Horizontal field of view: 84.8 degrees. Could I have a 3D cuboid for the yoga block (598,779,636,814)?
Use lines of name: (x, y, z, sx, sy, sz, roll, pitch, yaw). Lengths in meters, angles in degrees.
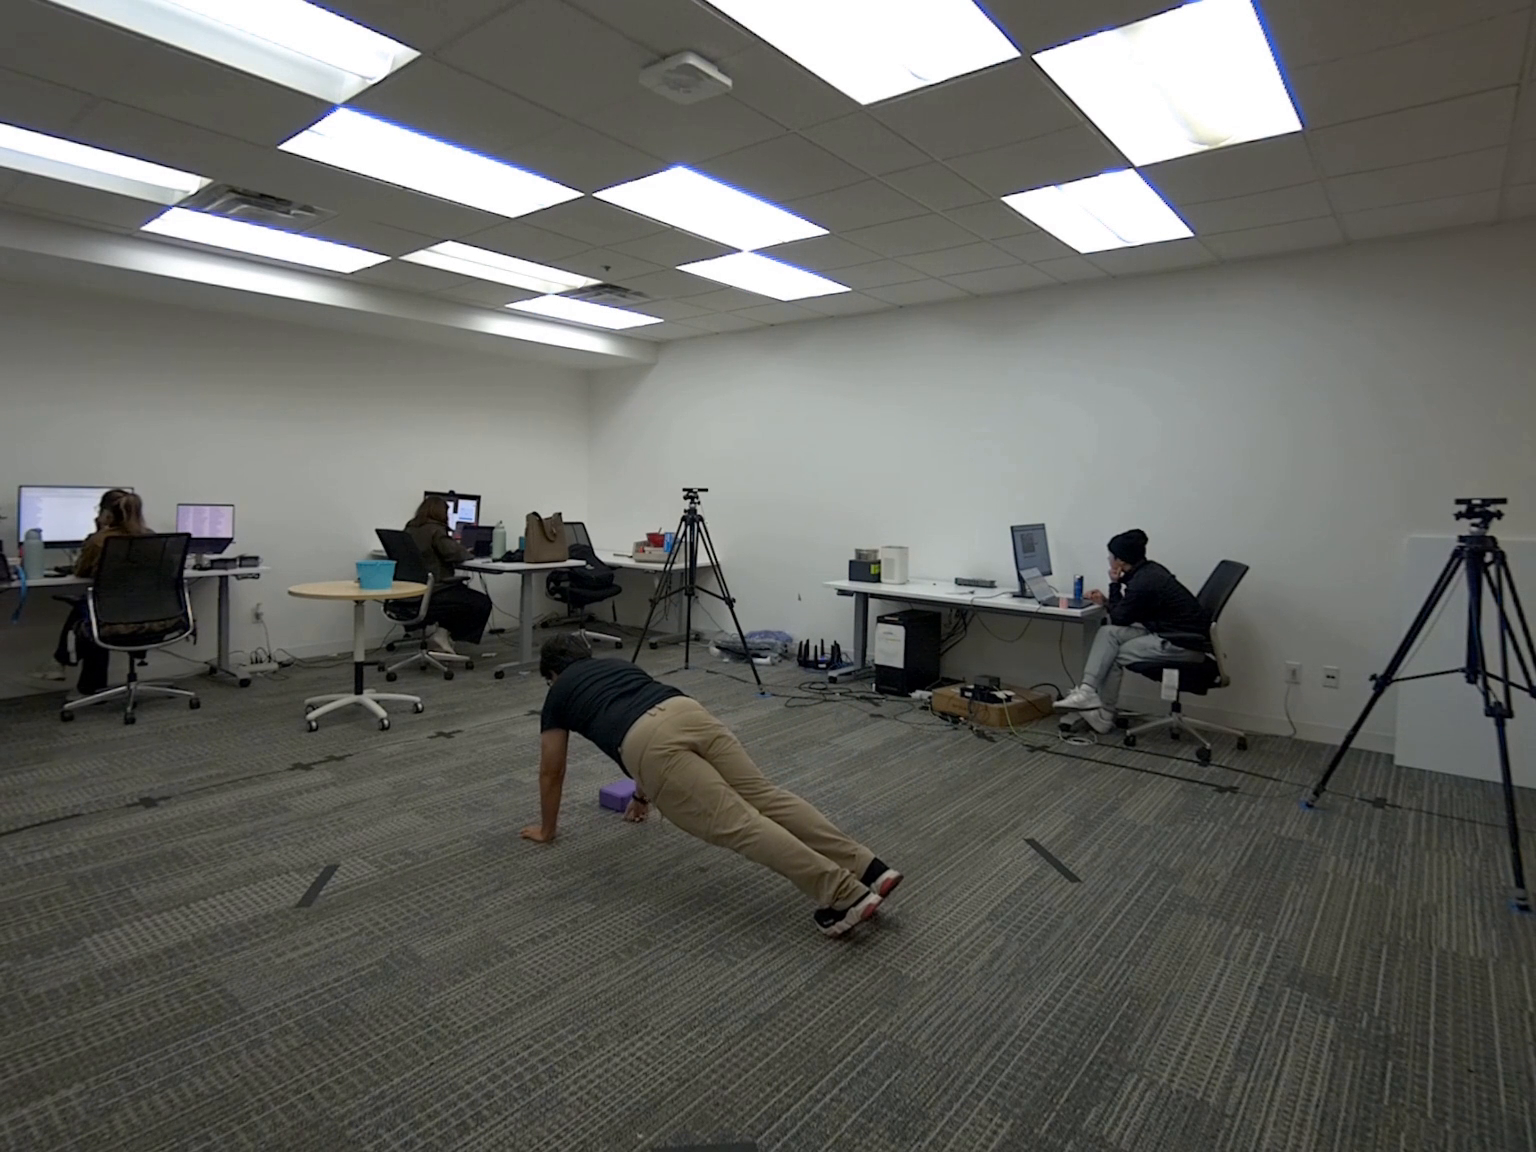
yoga block: (-0.632, 0.955, 3.763, 0.154, 0.076, 0.223, 3, 7, 35)
